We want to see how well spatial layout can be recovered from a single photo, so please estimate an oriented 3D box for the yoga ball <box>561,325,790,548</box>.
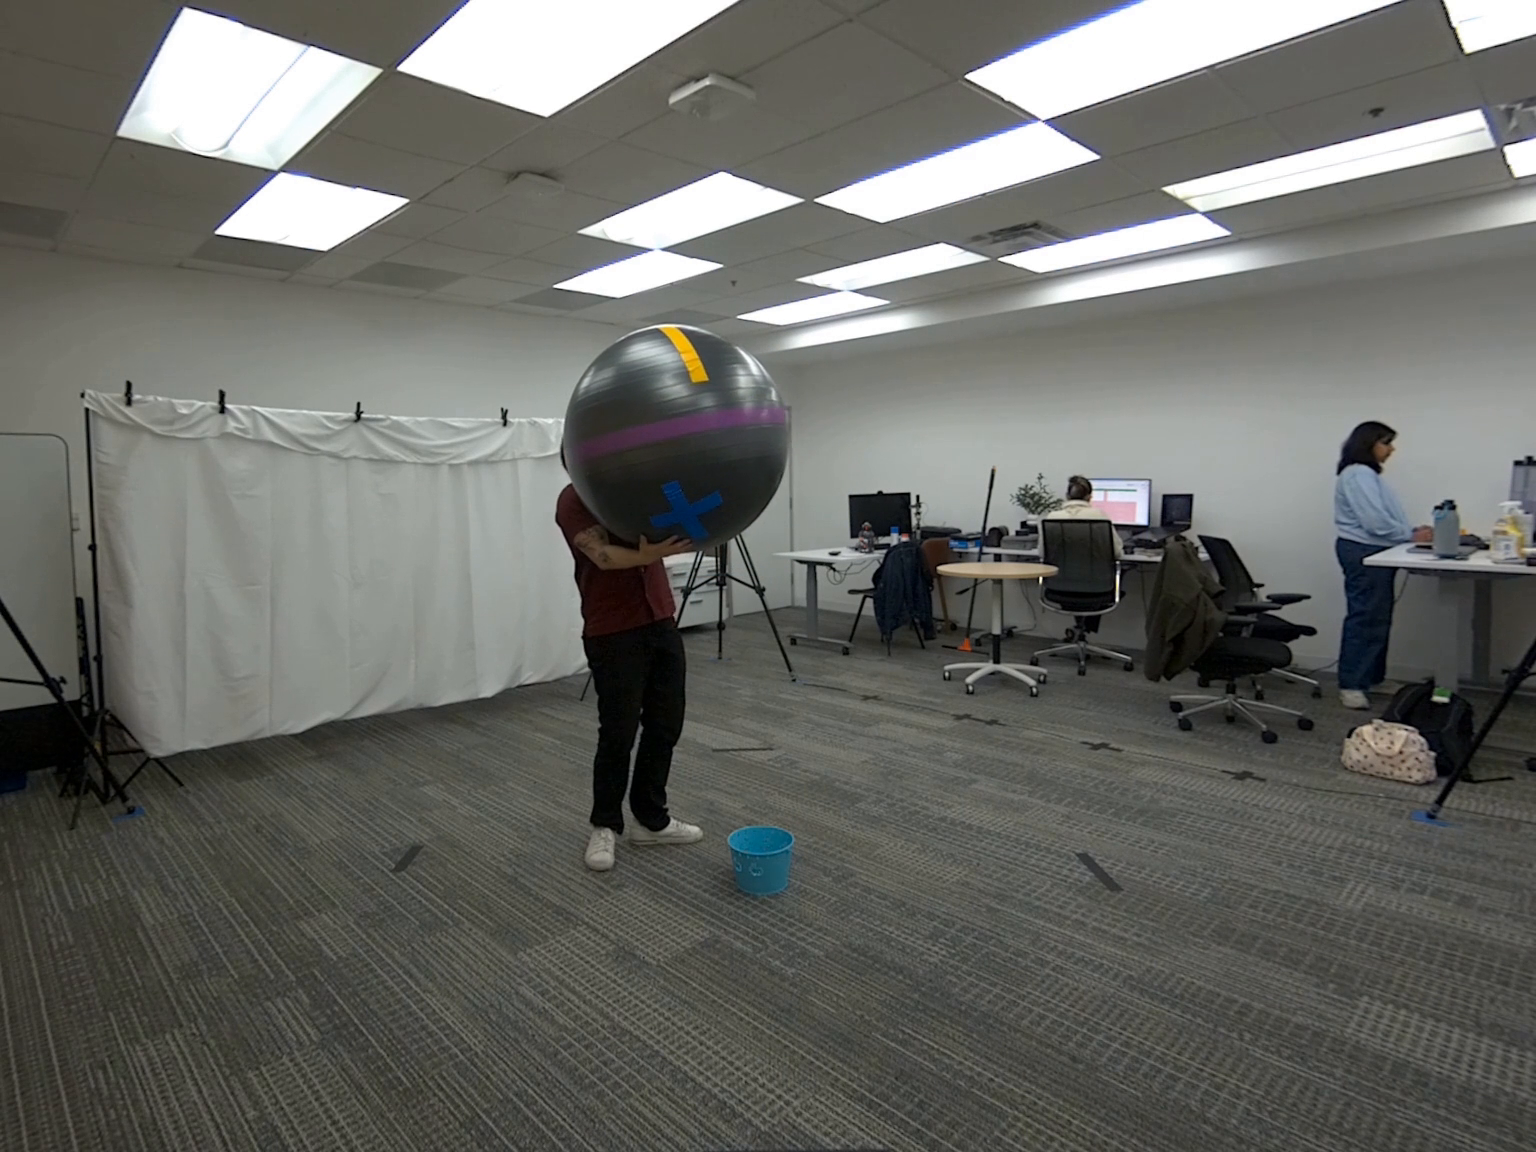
[{"bbox_3d":[-0.308,-0.451,2.882,0.757,0.755,0.762,-1,5,-2],"label":"yoga ball"}]
